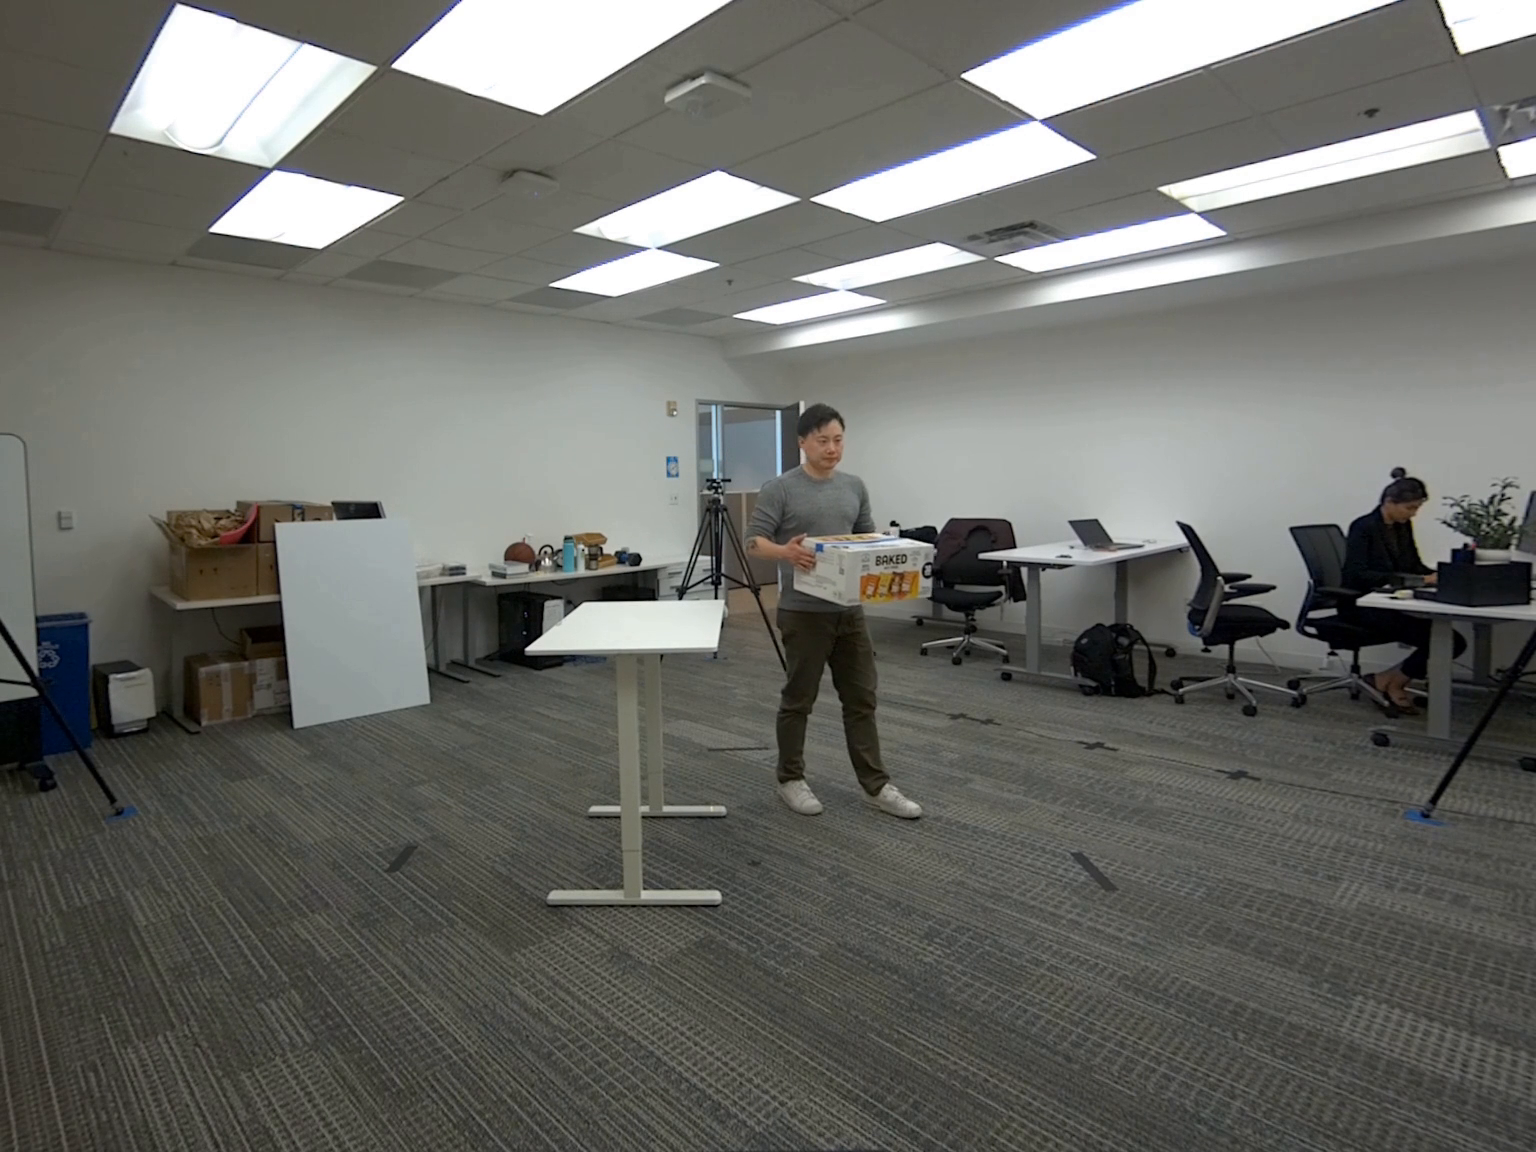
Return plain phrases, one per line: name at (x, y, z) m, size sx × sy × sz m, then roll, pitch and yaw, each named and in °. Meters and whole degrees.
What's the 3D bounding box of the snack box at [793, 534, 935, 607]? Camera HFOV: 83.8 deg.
snack box at (0.366, -0.031, 3.263) m, size 0.396 × 0.204 × 0.350 m, roll -5°, pitch 10°, yaw -28°
